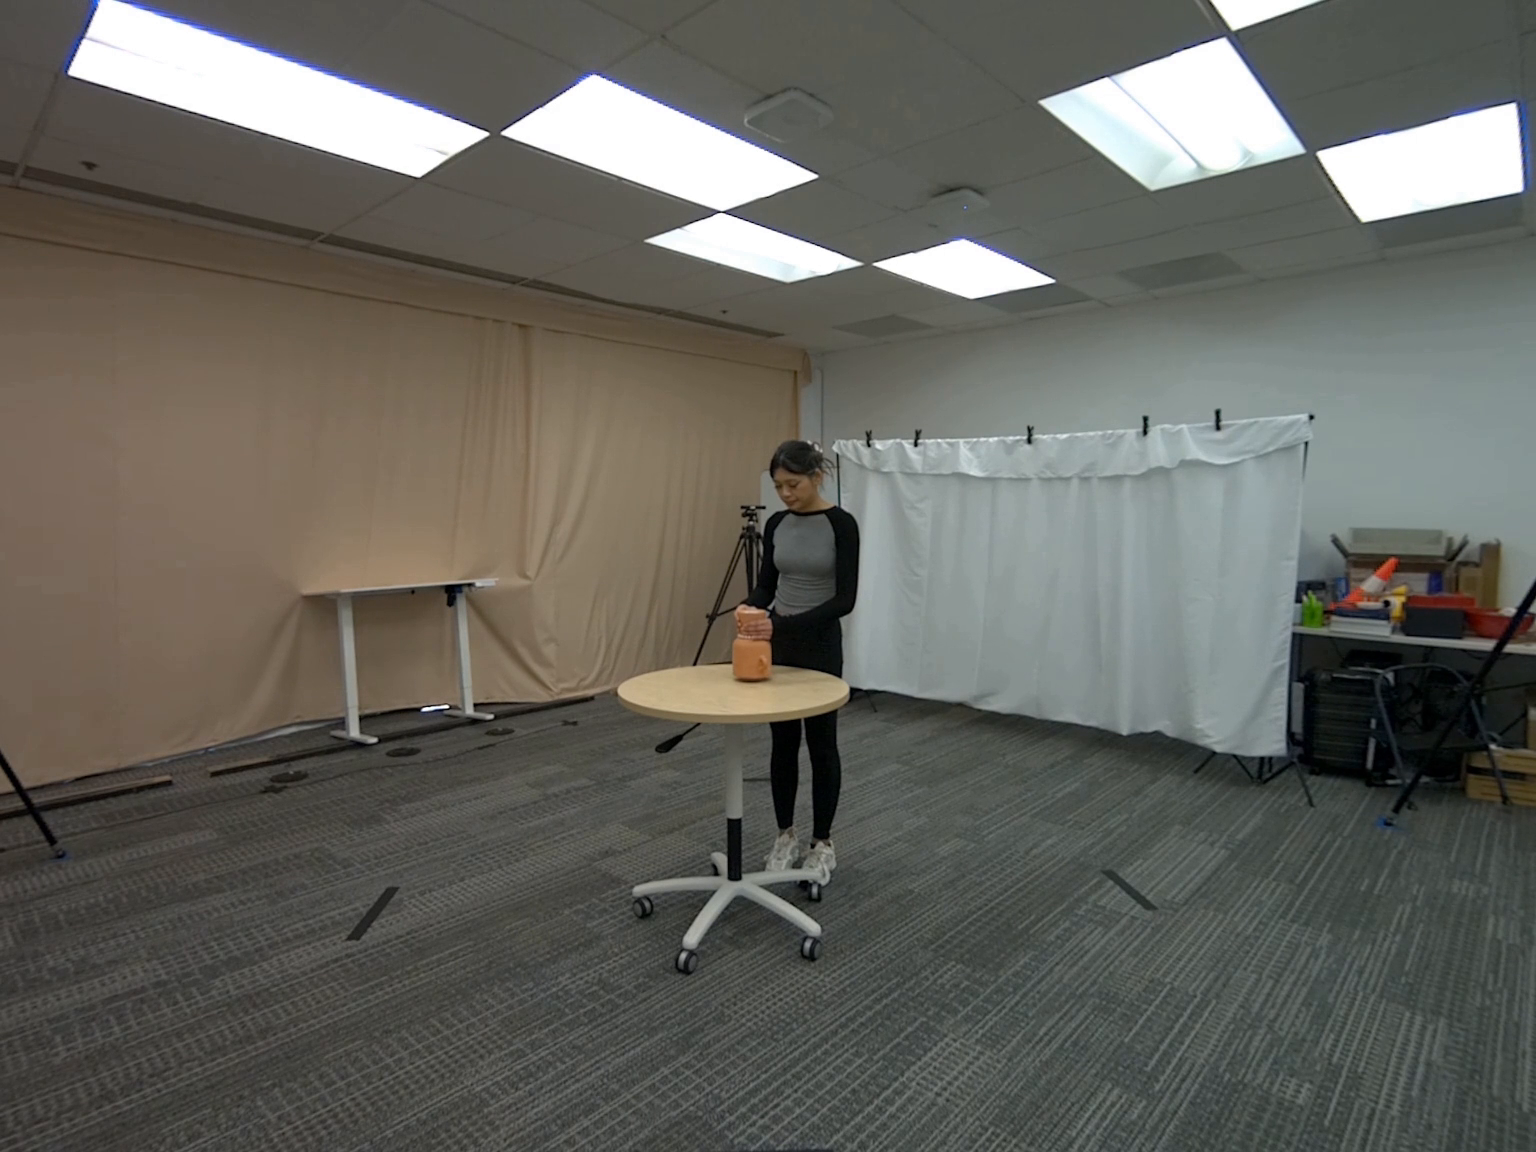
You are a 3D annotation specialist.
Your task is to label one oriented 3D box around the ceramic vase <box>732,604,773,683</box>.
[{"bbox_3d":[-0.048,0.228,2.892,0.163,0.219,0.131,6,3,23],"label":"ceramic vase"}]
